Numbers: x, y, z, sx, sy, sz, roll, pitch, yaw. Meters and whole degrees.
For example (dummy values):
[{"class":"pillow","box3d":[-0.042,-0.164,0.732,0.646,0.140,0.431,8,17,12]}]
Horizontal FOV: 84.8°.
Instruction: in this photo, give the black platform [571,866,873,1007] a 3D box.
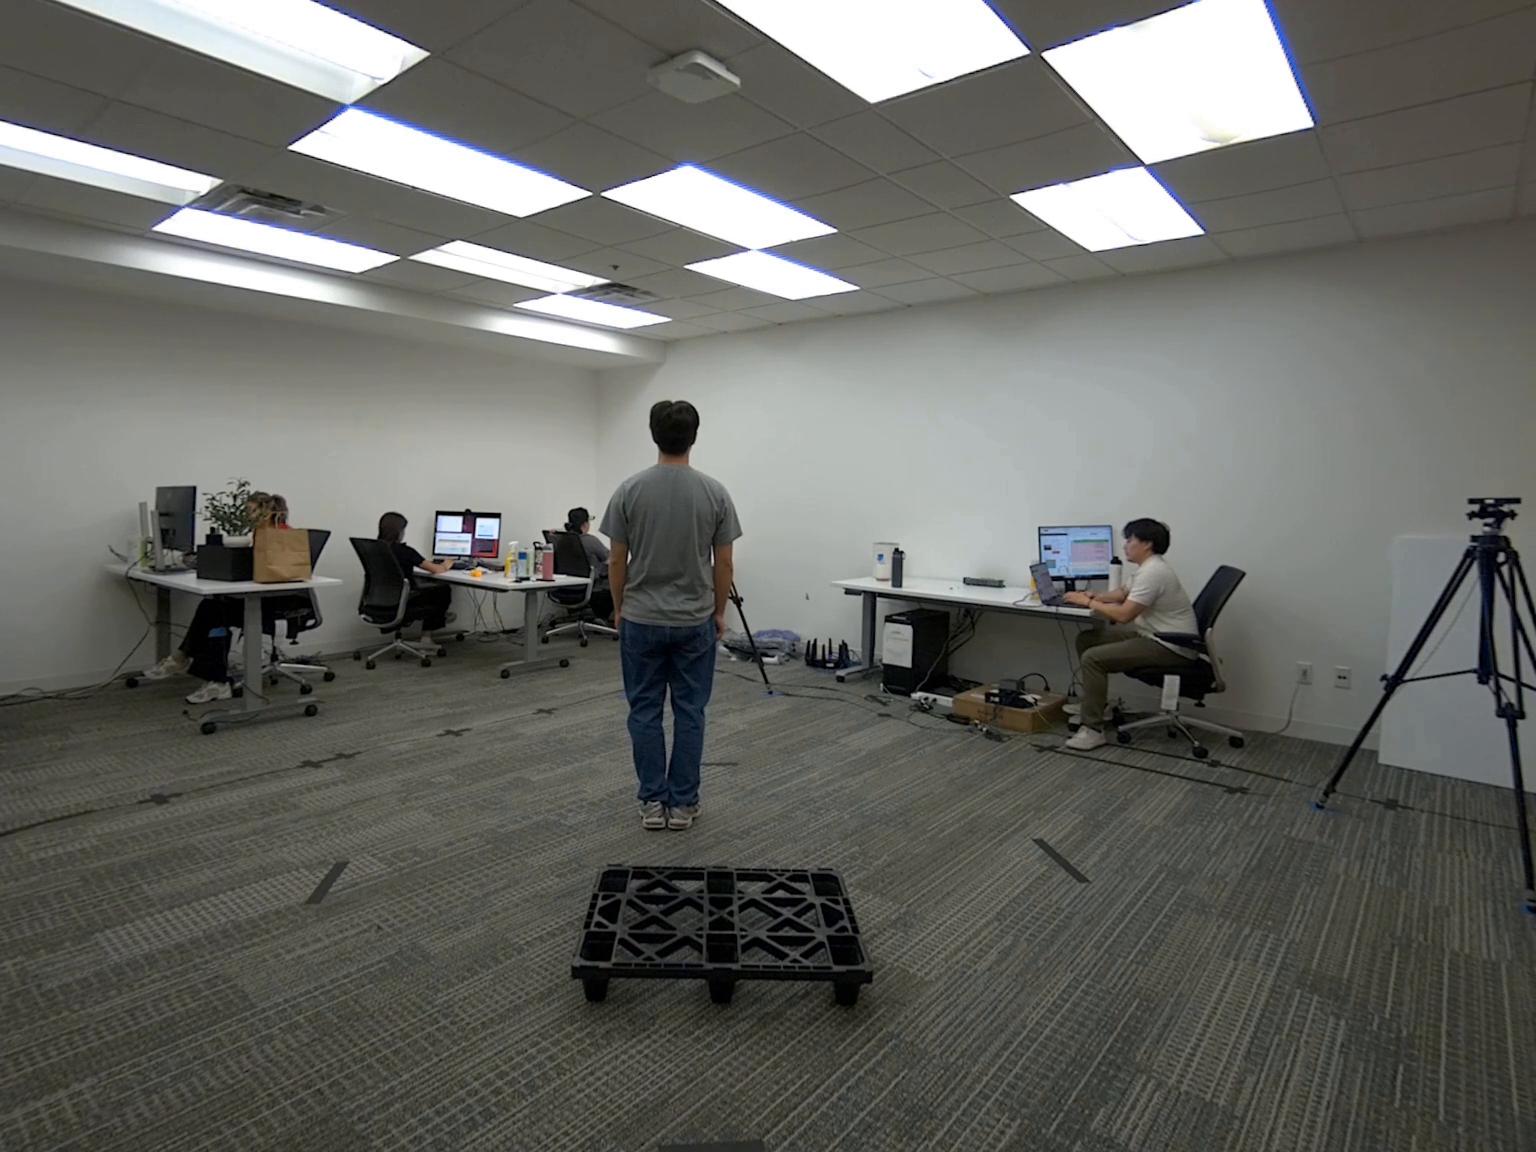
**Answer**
[{"class":"black platform","box3d":[-0.149,1.054,2.525,0.805,0.143,0.608,2,5,-2]}]
